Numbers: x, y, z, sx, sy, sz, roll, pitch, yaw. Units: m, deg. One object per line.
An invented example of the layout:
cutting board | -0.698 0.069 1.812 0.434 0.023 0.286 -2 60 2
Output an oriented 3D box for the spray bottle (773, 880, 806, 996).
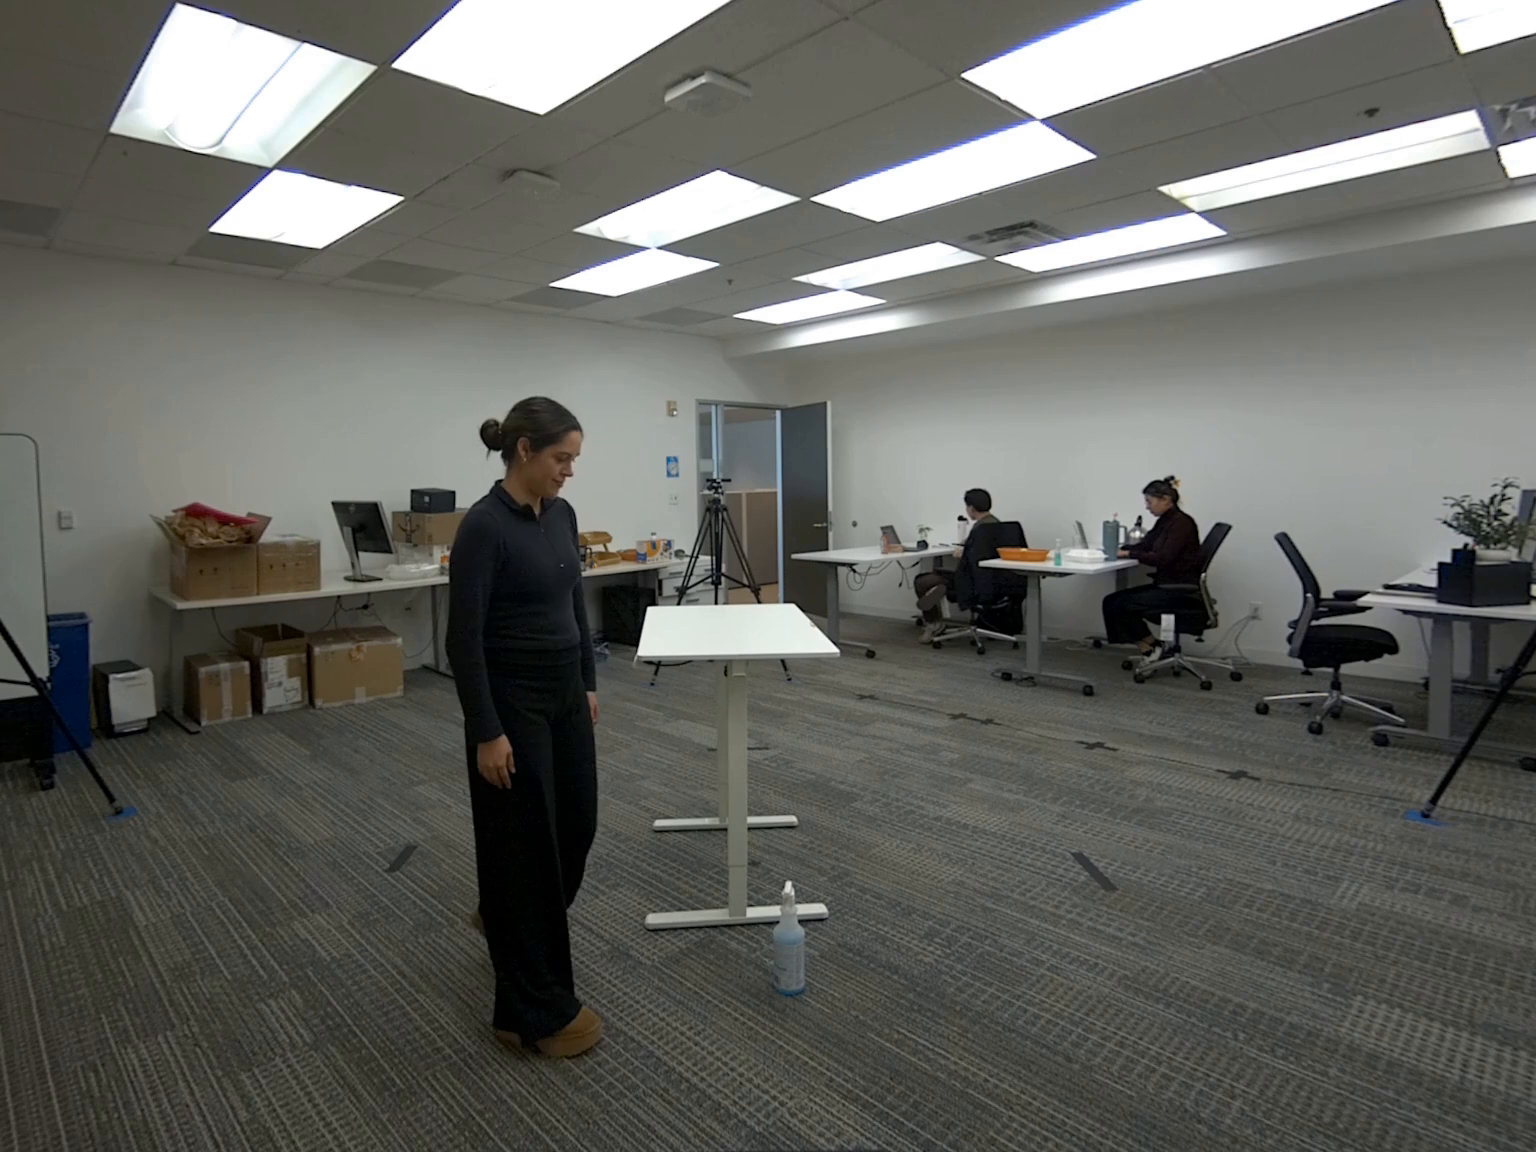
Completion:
spray bottle | 0.064 0.988 2.338 0.089 0.296 0.088 1 5 31
